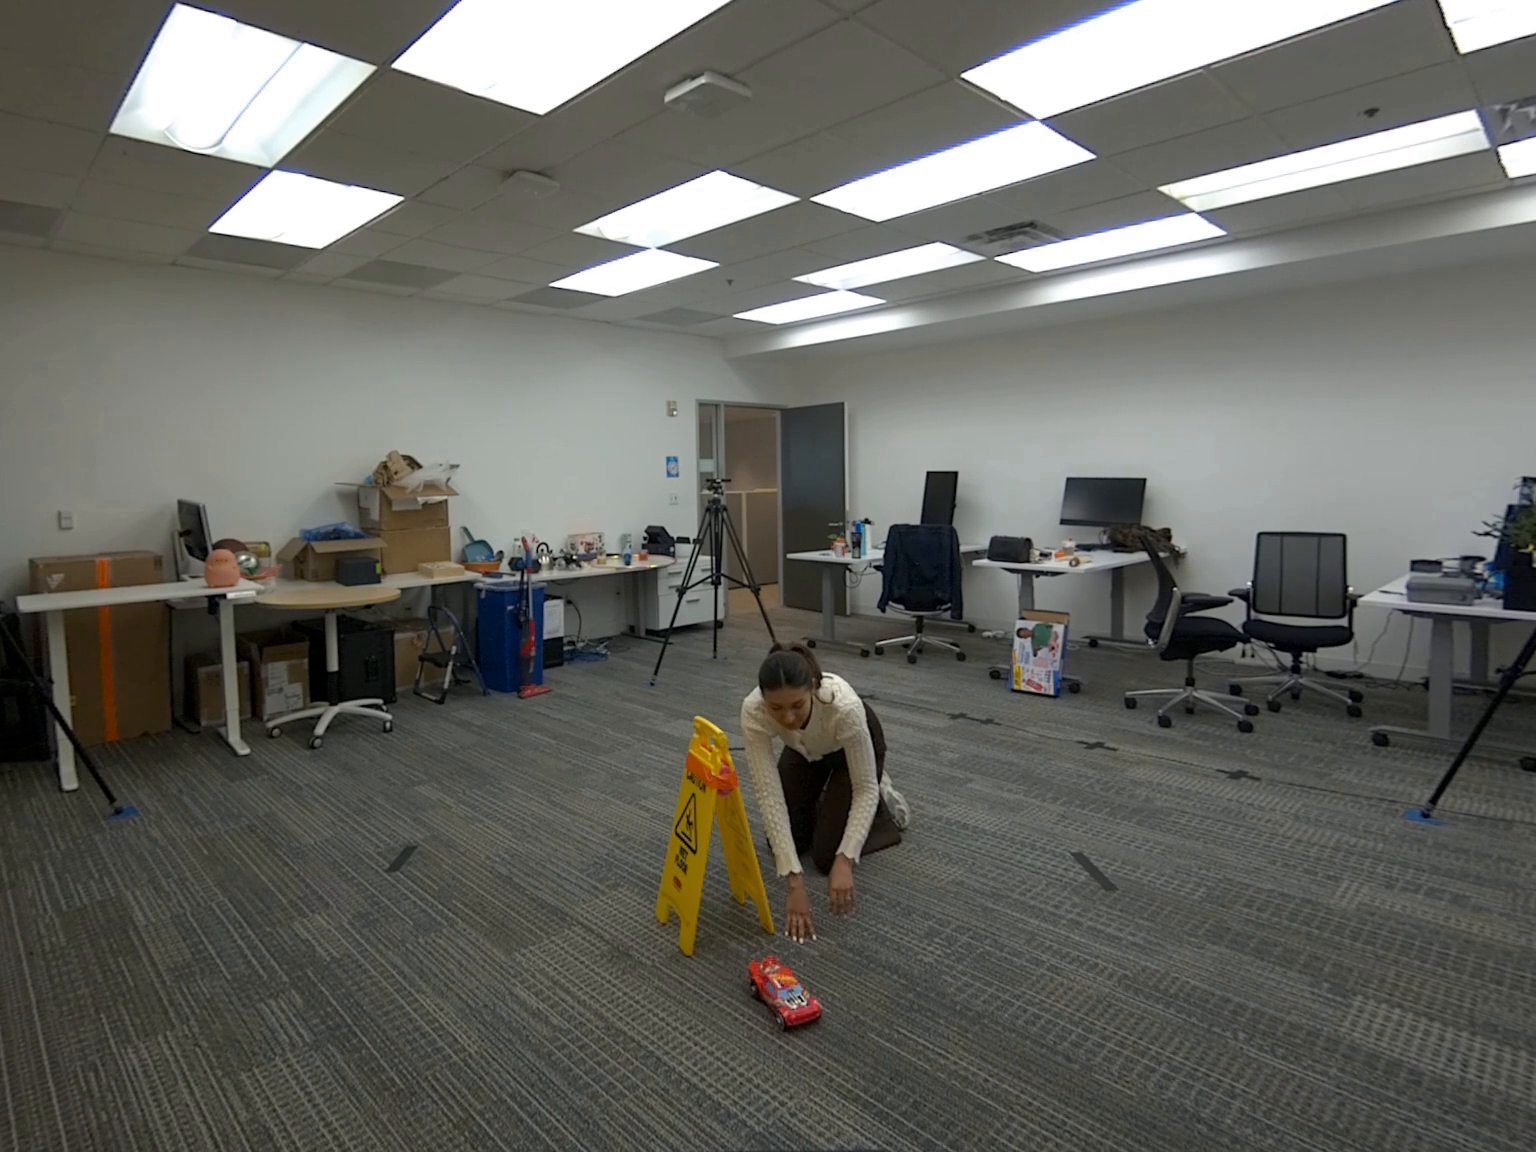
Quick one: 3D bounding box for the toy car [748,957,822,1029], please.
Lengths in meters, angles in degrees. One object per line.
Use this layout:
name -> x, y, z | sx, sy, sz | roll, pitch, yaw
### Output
toy car -> 0.031, 1.110, 2.283 | 0.128, 0.082, 0.263 | -5, 19, -24
